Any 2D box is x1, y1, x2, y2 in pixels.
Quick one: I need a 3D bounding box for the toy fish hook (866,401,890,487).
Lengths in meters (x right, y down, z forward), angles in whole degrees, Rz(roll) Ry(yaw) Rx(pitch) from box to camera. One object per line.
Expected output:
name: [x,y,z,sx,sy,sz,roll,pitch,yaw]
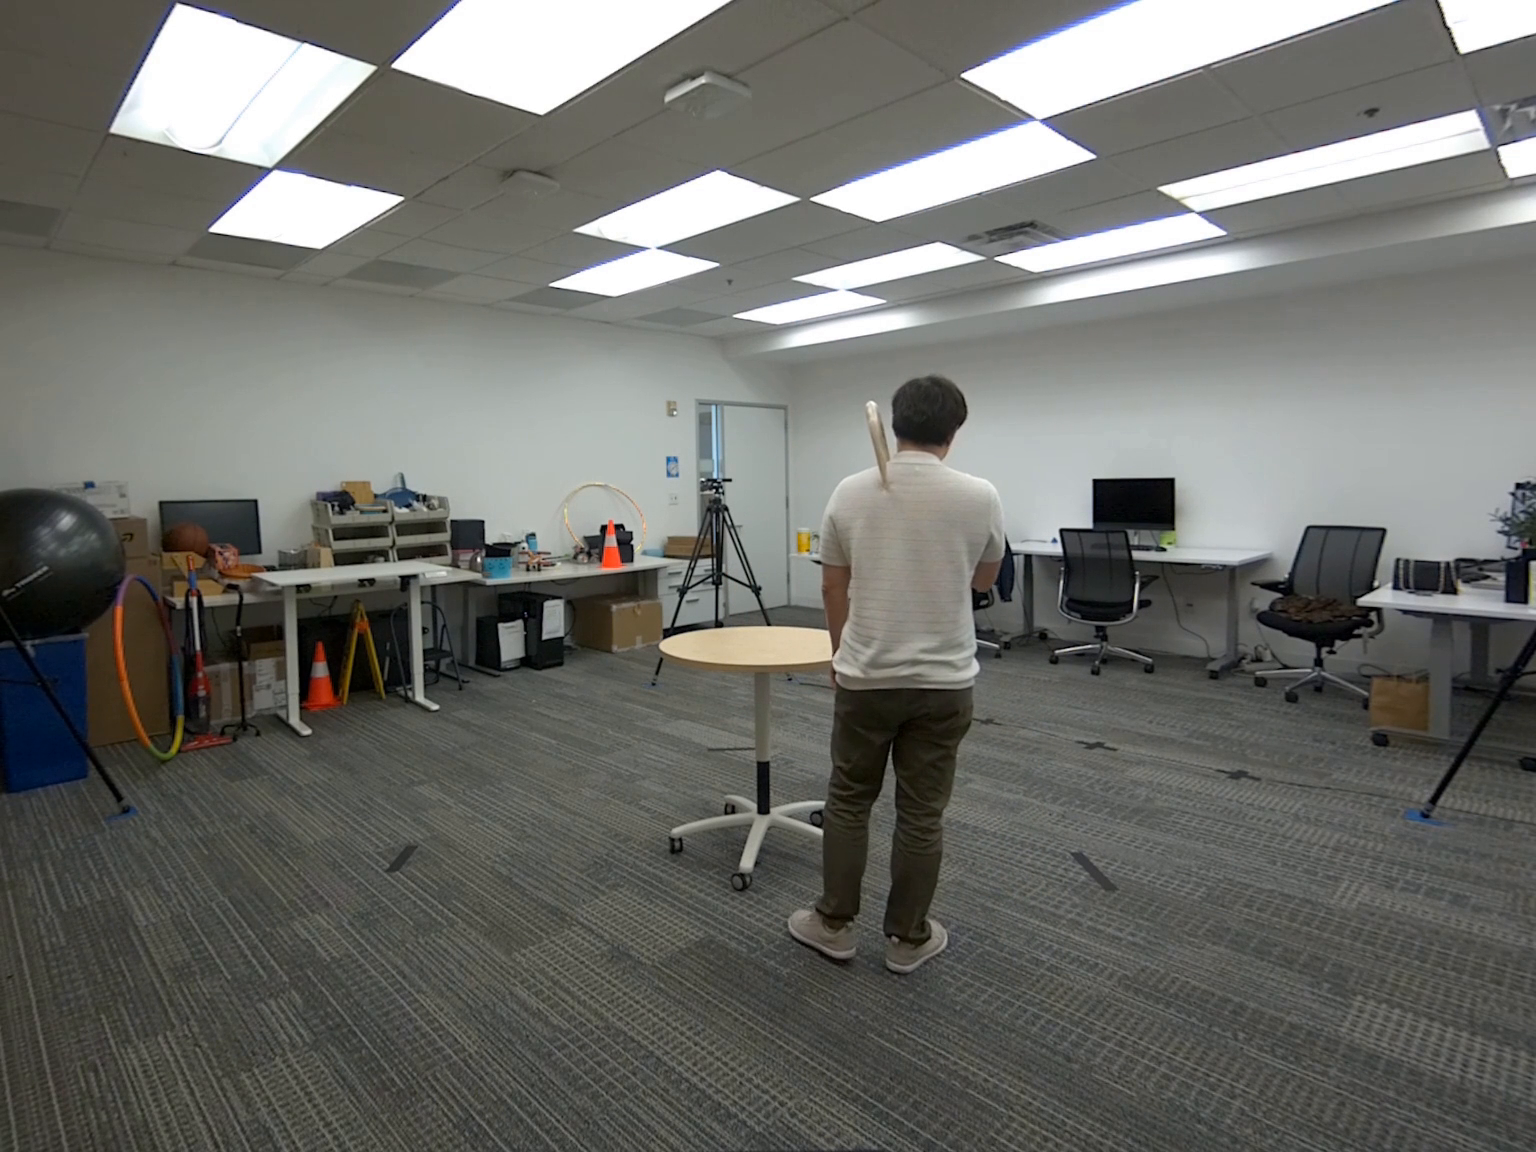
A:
toy fish hook: [0.344,-0.262,2.422,0.049,0.489,0.229,-6,41,15]
